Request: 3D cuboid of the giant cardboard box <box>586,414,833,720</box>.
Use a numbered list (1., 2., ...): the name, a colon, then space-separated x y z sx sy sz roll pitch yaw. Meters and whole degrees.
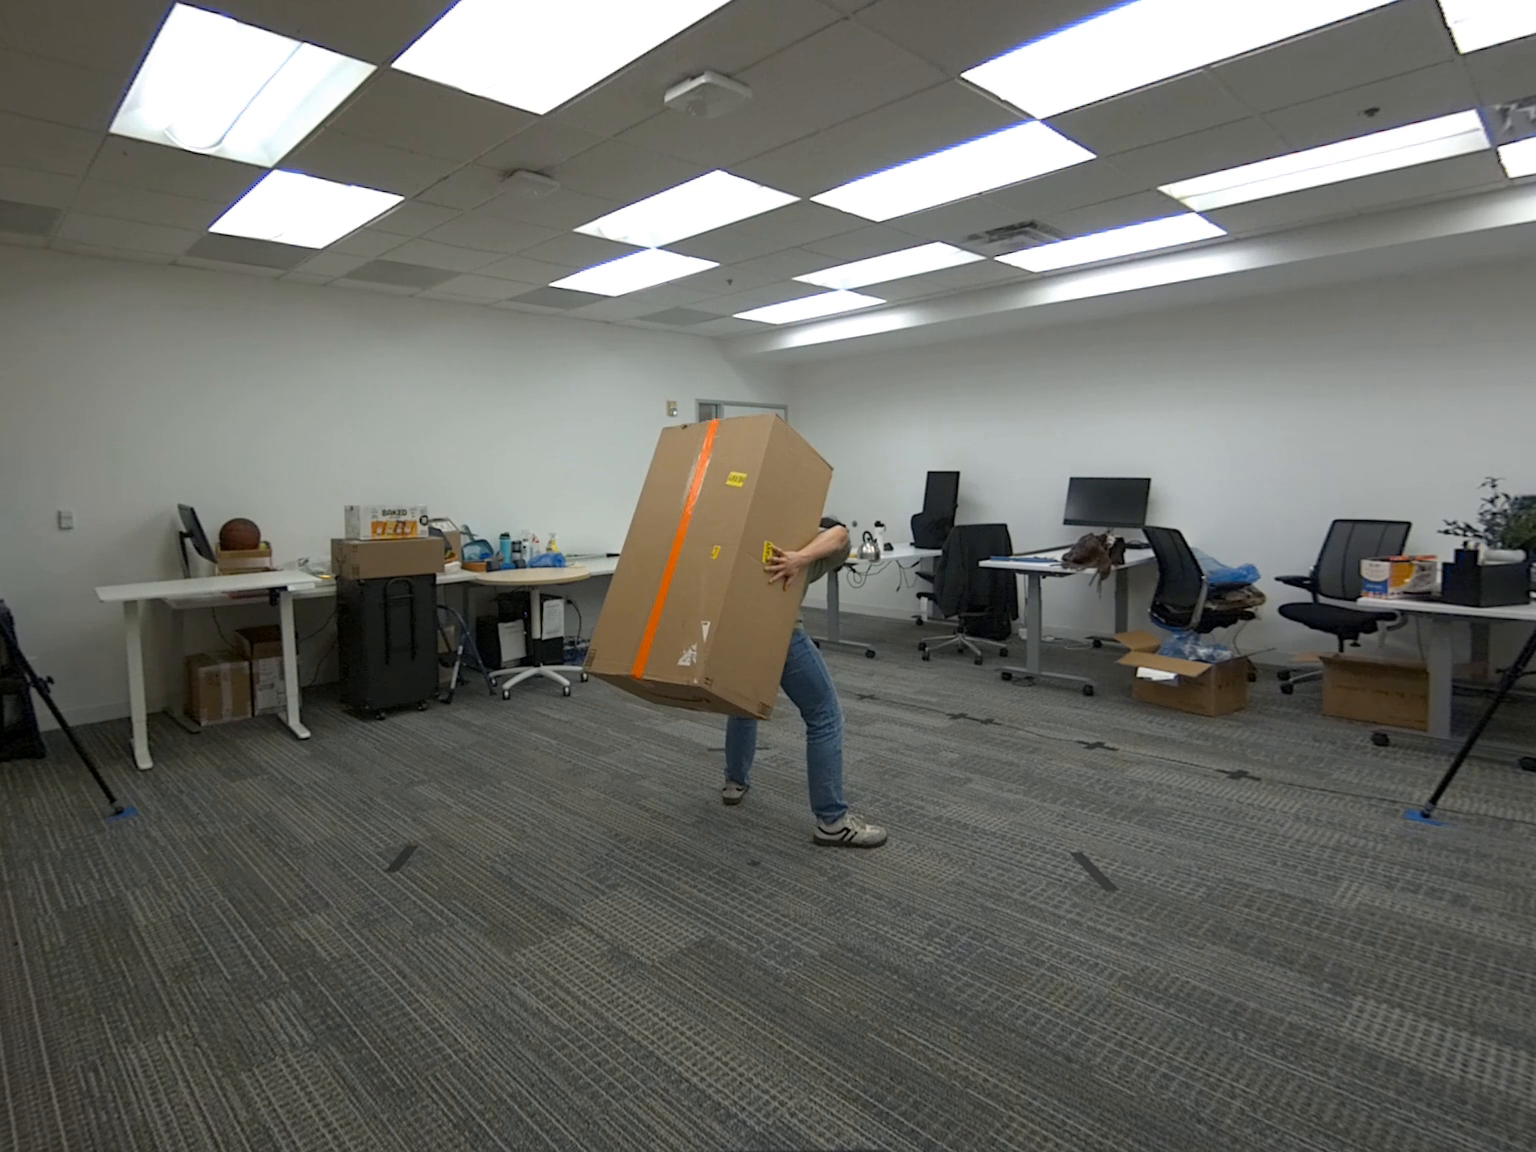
1. giant cardboard box: -0.212 -0.037 3.227 0.594 1.037 0.410 -1 -24 39
